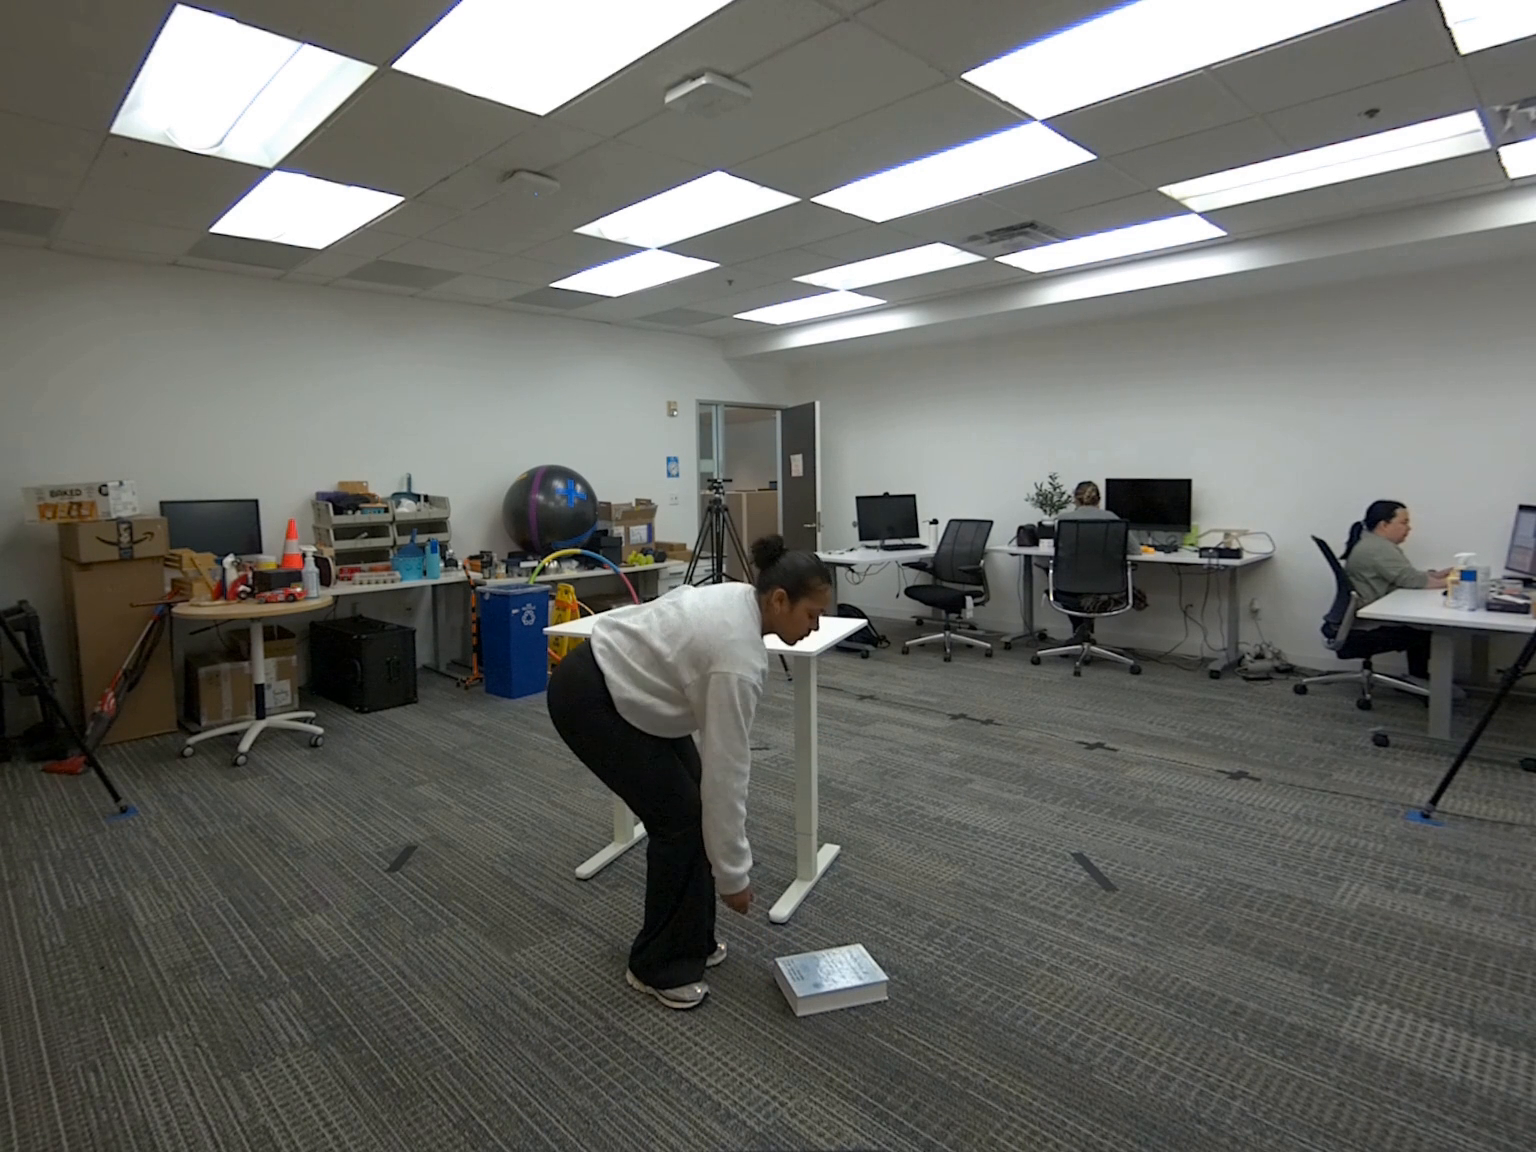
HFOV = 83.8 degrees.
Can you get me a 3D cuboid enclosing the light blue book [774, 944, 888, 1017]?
[{"bbox_3d":[0.170,1.093,2.341,0.257,0.059,0.195,-3,7,-16],"label":"light blue book"}]
